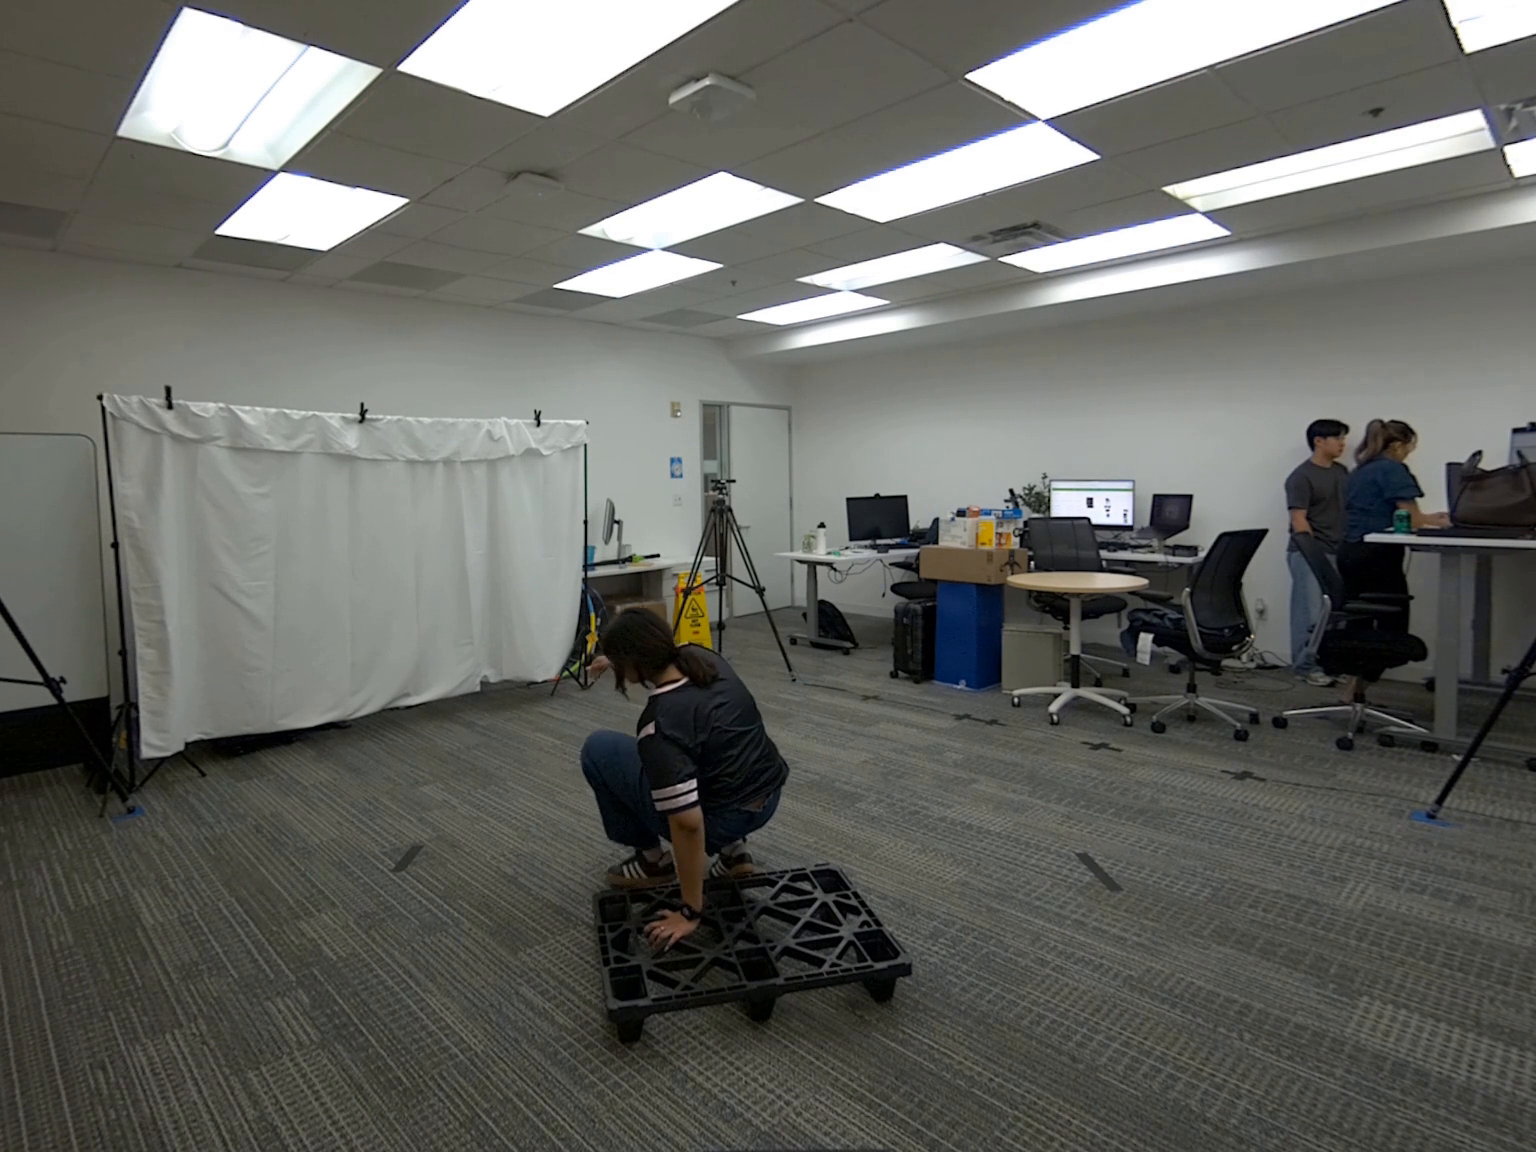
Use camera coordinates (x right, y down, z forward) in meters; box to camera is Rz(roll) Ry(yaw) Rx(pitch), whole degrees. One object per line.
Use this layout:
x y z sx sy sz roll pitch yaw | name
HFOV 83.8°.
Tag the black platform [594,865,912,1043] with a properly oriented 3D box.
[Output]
-0.082 1.060 2.433 0.796 0.143 0.615 -2 6 -12 | black platform
